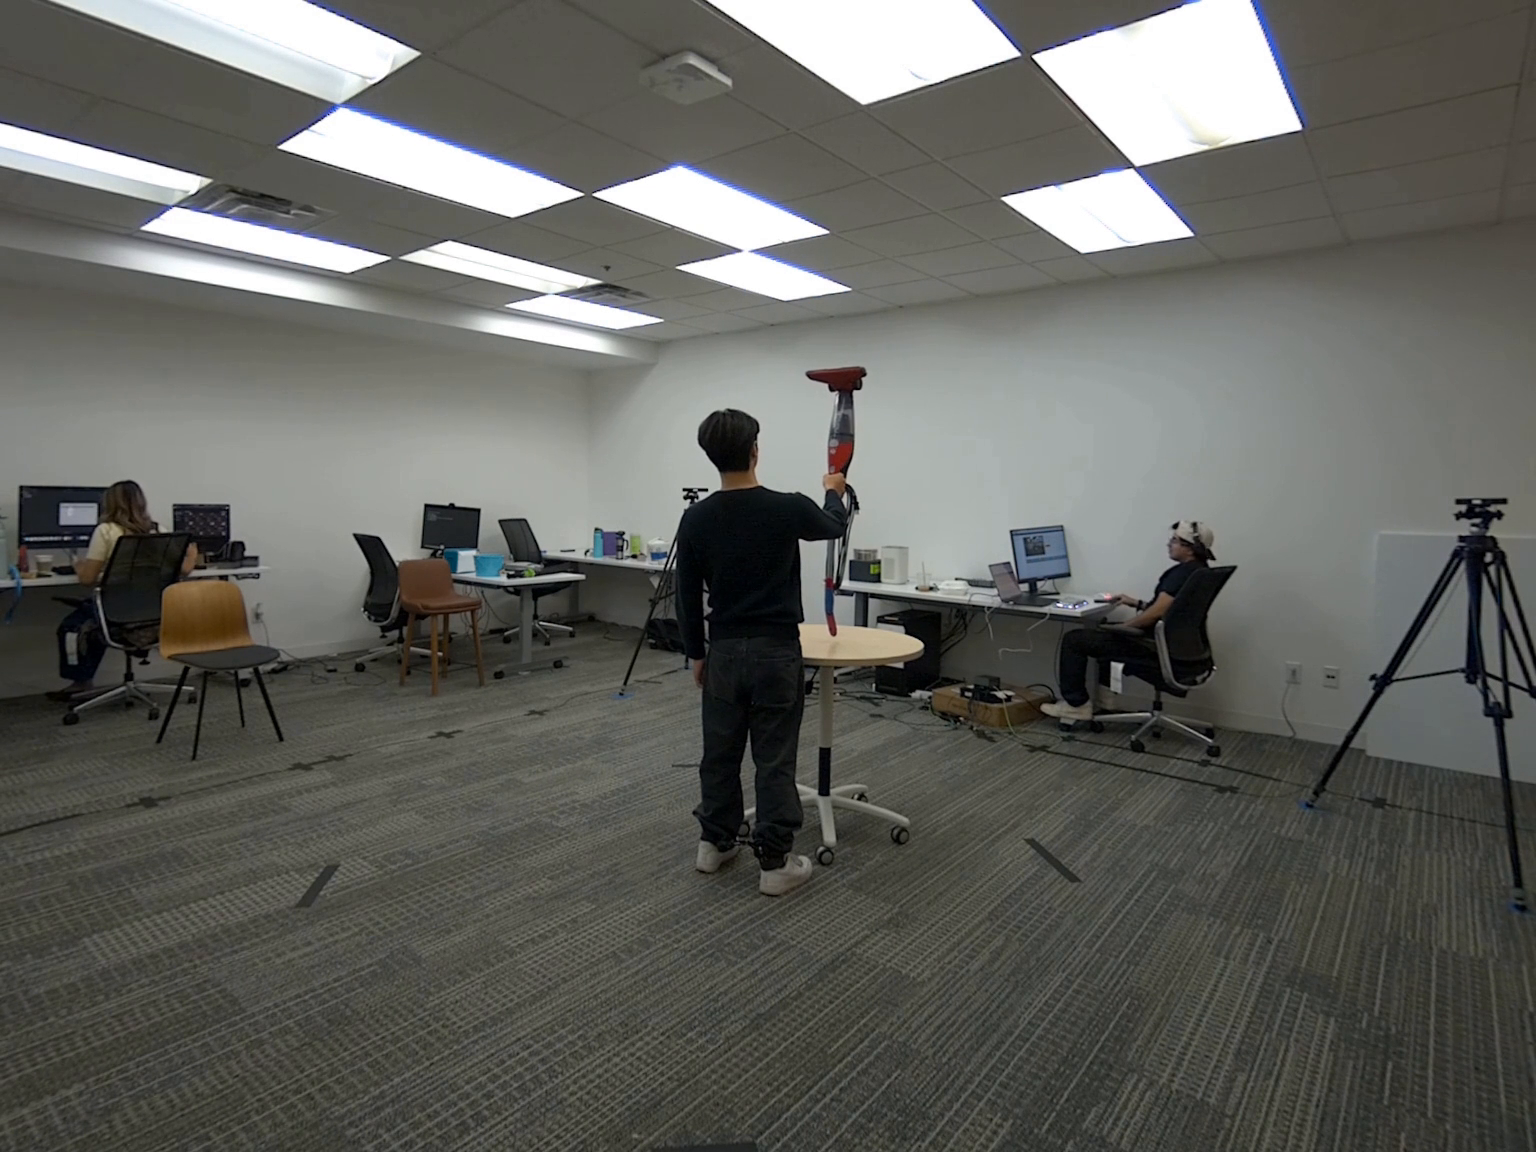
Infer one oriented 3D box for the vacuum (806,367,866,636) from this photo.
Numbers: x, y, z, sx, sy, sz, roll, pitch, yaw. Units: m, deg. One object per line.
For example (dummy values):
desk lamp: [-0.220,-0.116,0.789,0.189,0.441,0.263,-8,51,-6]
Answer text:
vacuum: [0.277,-0.293,3.445,0.260,1.047,0.140,2,2,35]
